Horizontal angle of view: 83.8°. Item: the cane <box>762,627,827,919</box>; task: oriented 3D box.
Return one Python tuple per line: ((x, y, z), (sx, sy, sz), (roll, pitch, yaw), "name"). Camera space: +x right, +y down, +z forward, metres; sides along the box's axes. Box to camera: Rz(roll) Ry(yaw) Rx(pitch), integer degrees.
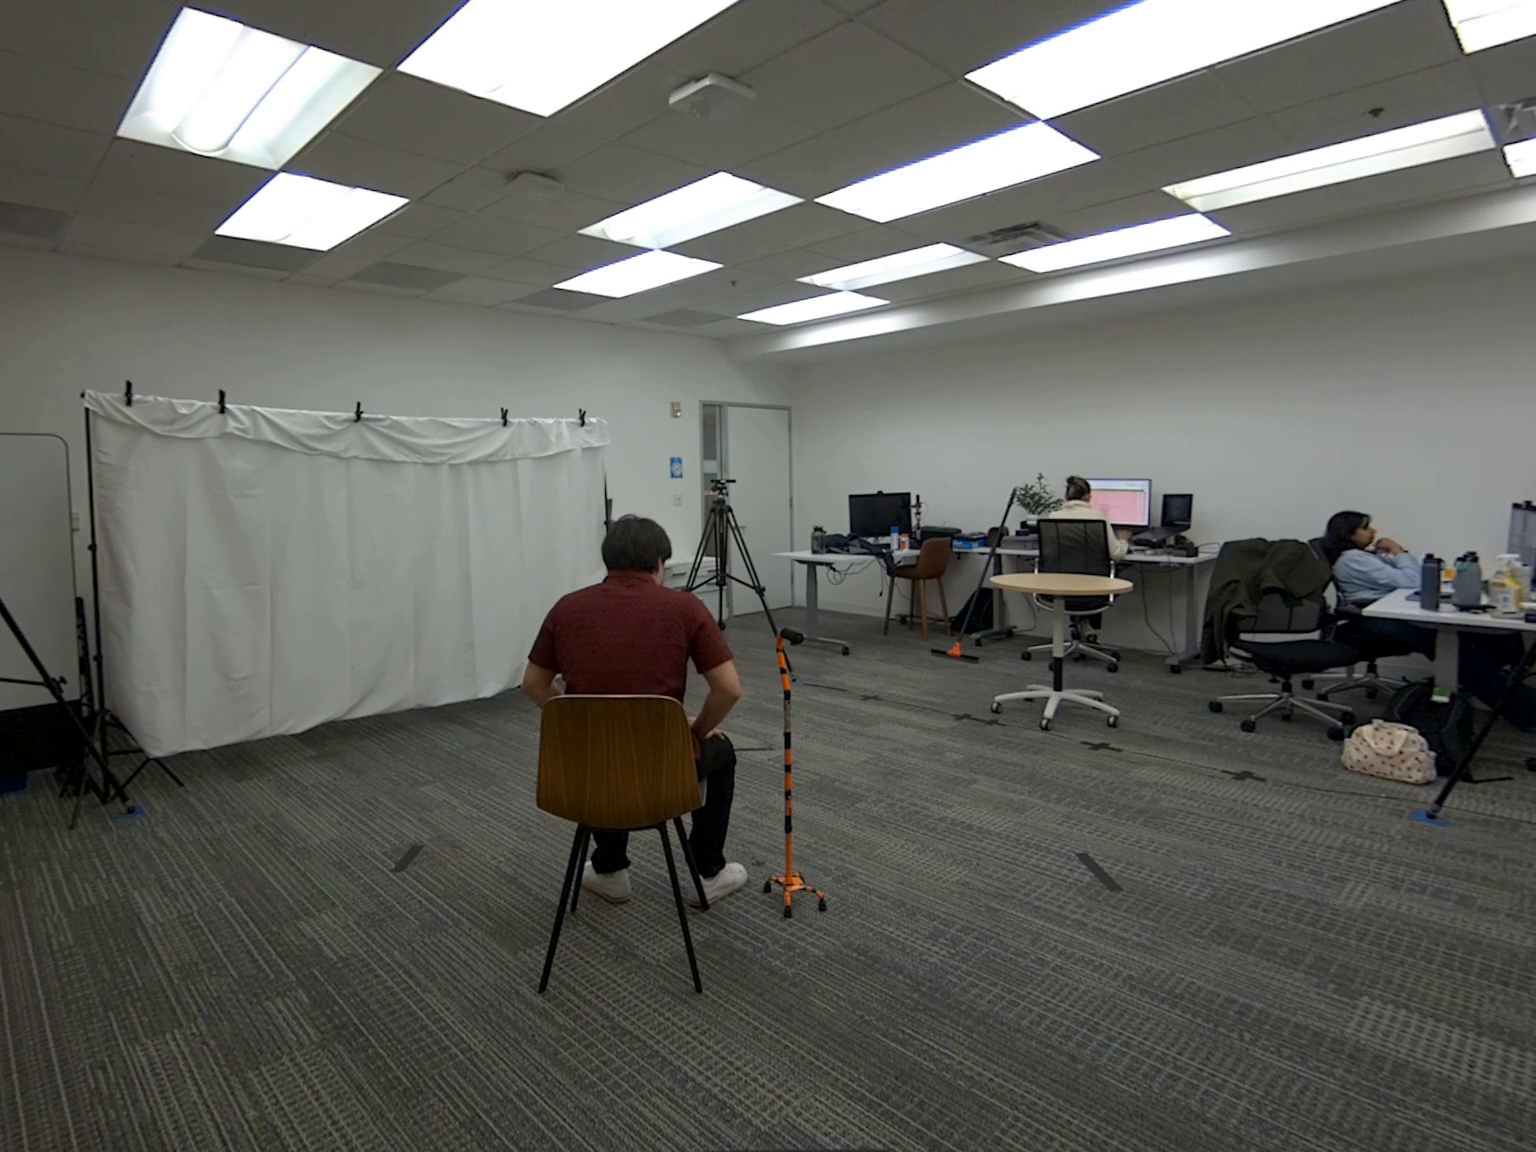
((0.078, 0.619, 2.800), (0.149, 0.905, 0.211), (-2, 4, -23), "cane")
